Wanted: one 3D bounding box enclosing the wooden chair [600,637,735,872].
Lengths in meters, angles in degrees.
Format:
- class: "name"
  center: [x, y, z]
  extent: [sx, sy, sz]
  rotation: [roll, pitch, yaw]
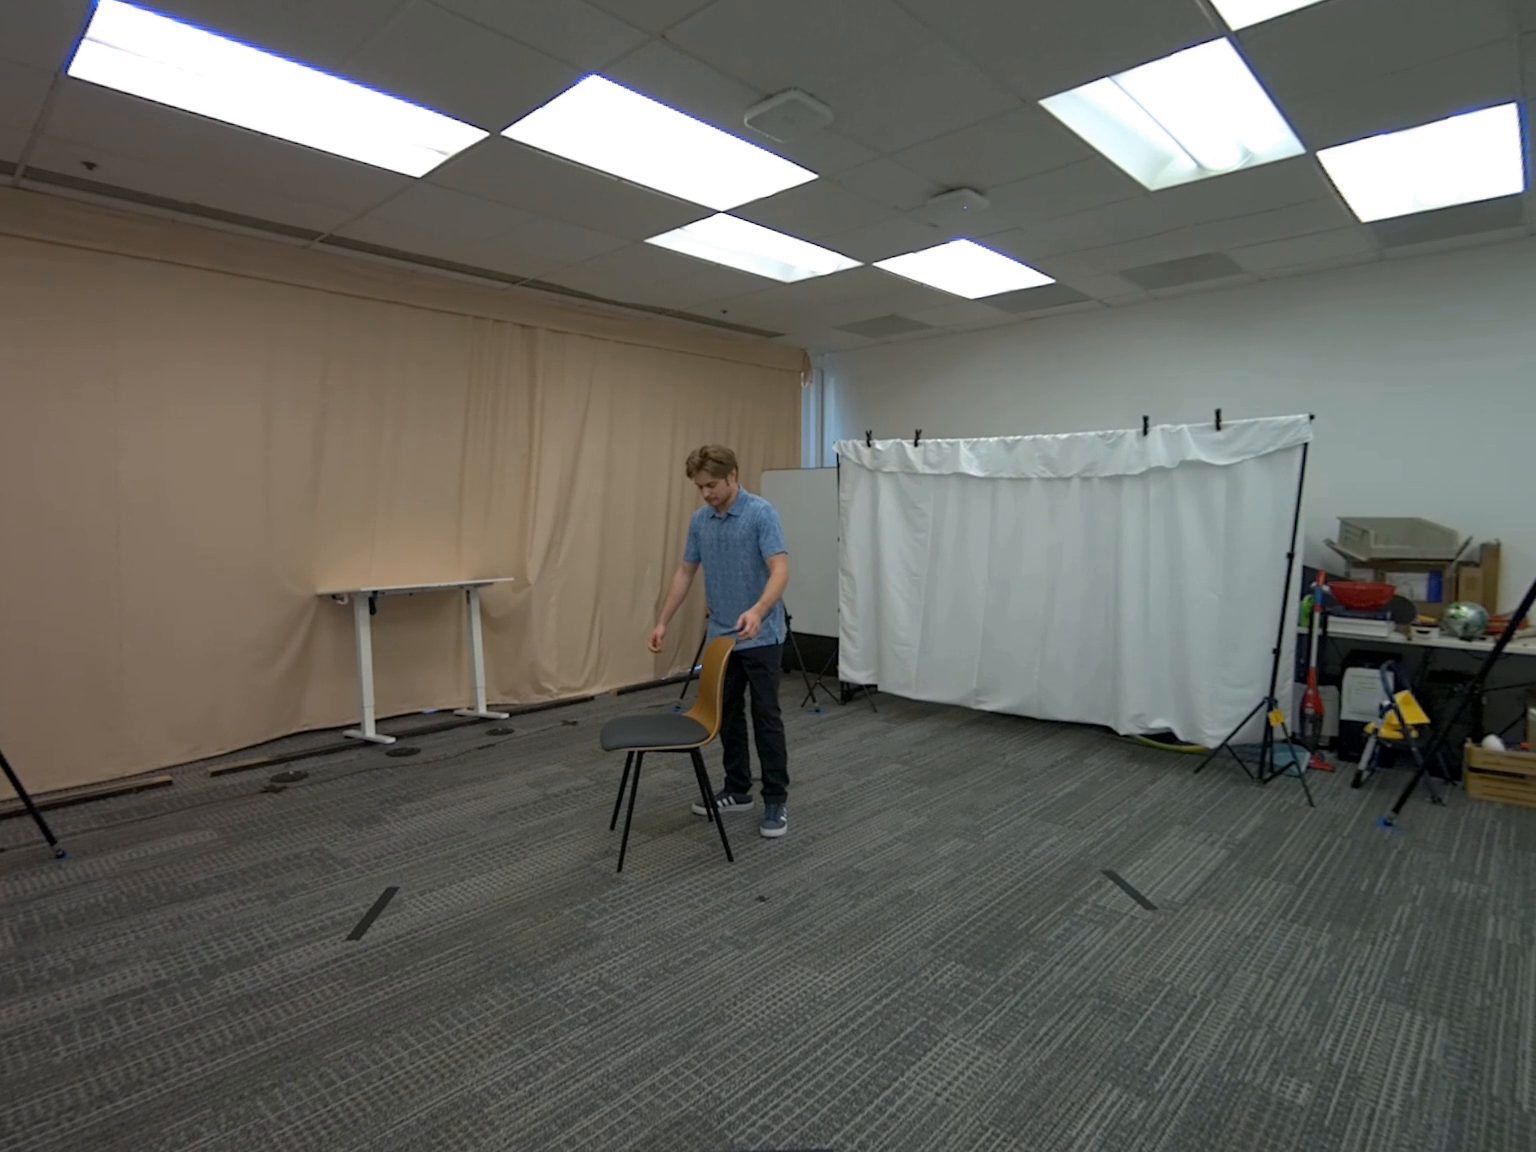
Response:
- class: "wooden chair"
  center: [-0.421, 0.681, 3.429]
  extent: [0.516, 0.876, 0.486]
  rotation: [3, 3, -13]
